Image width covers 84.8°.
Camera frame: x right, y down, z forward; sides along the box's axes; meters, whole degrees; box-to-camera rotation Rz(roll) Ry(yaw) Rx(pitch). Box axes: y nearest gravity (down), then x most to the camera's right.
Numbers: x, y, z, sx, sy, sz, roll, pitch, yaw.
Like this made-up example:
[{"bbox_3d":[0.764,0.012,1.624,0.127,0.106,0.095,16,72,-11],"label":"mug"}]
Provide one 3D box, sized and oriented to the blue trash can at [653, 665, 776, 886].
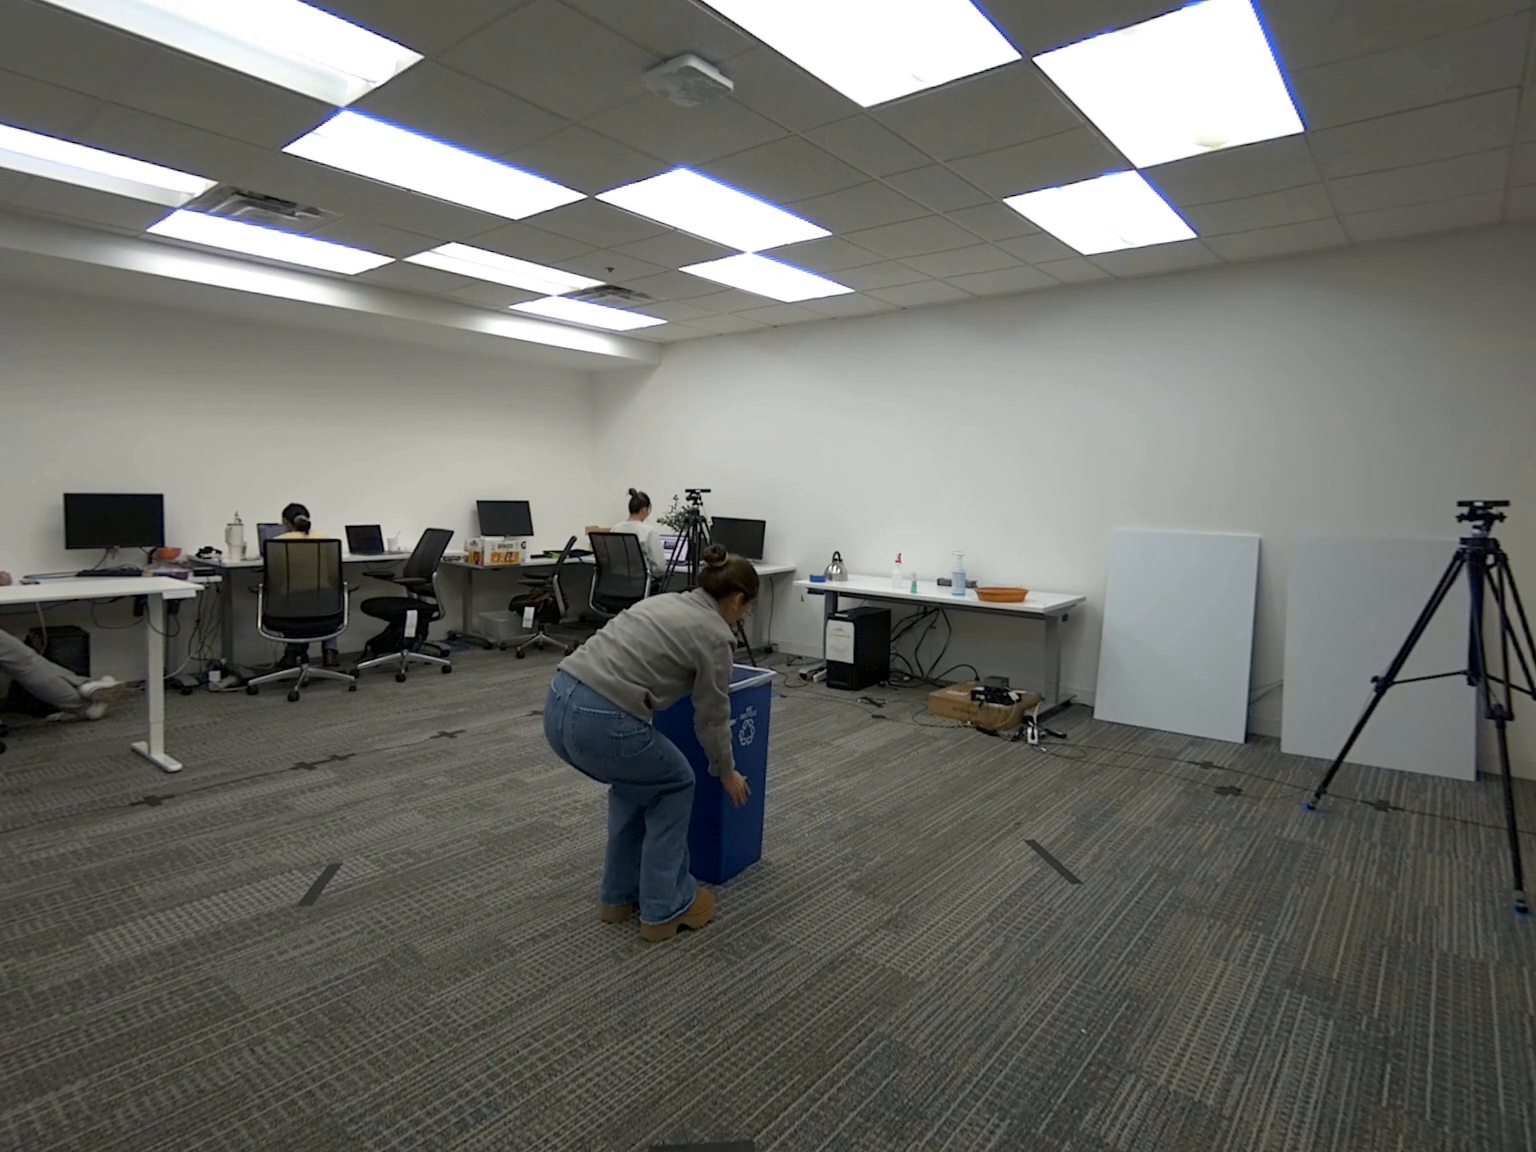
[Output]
[{"bbox_3d":[-0.224,0.708,3.183,0.389,0.711,0.364,3,4,31],"label":"blue trash can"}]
